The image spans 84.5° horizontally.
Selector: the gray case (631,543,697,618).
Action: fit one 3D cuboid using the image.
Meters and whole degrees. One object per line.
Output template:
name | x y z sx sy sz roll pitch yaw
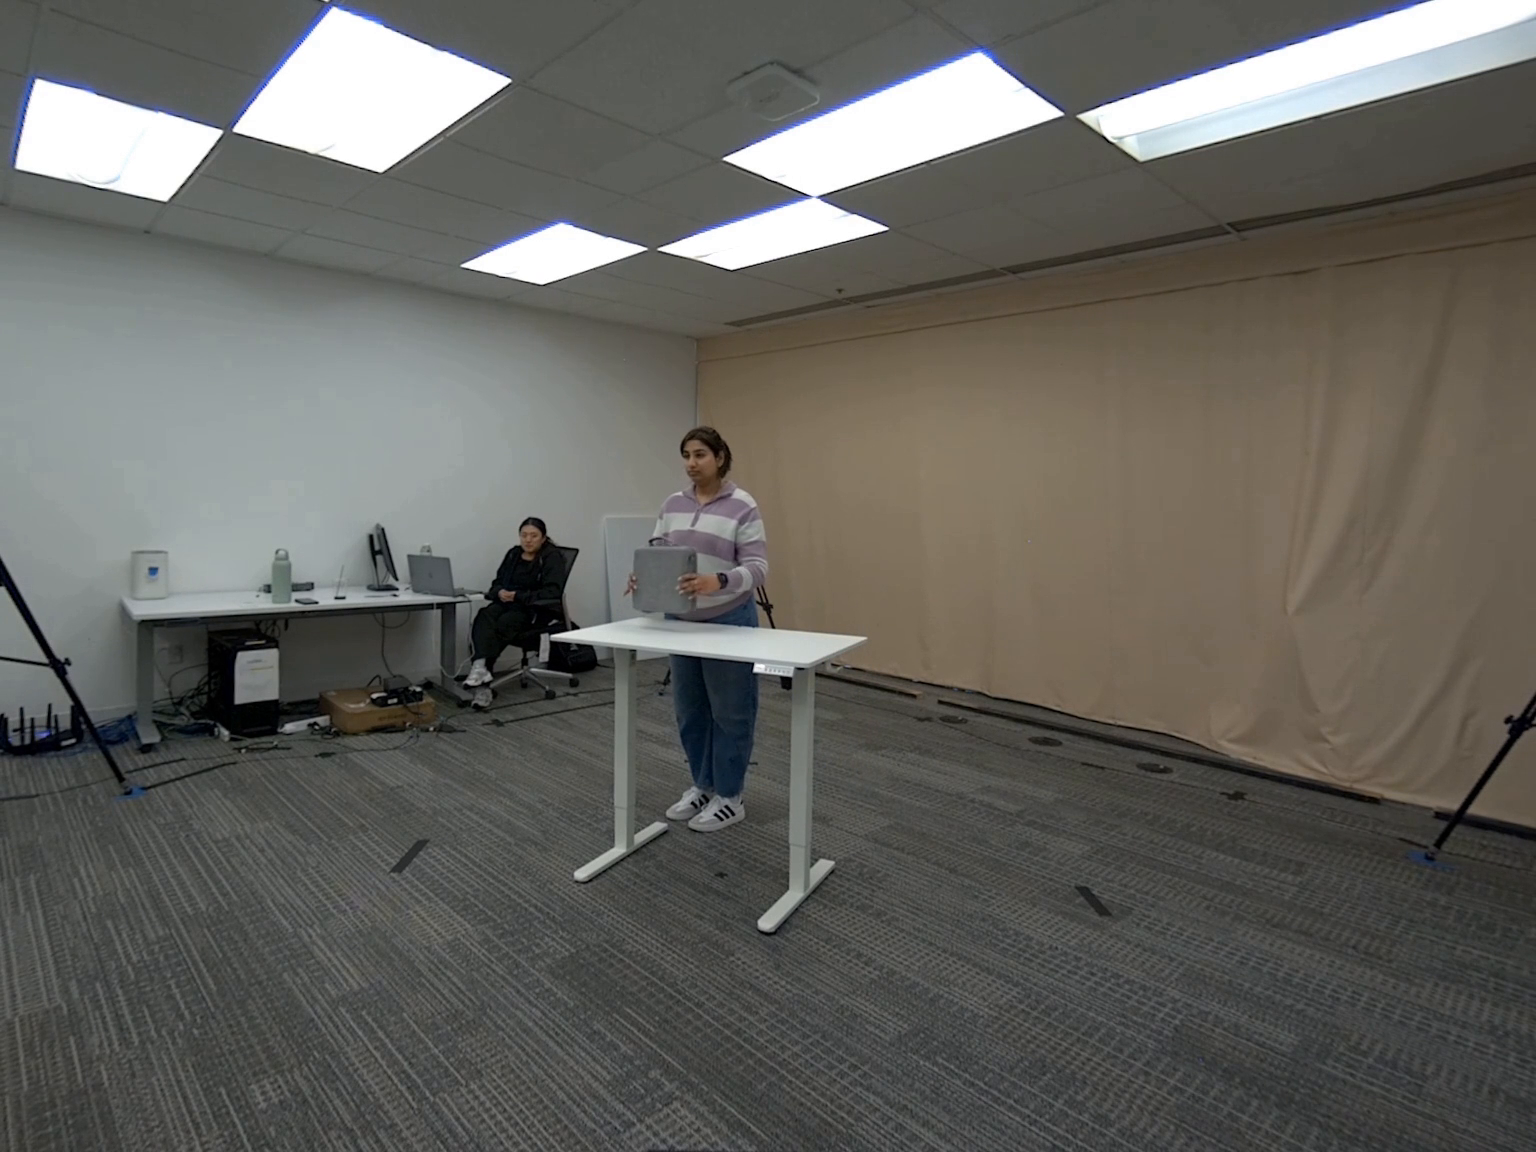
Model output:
gray case | -0.414 0.006 3.220 0.262 0.260 0.102 -1 0 30
